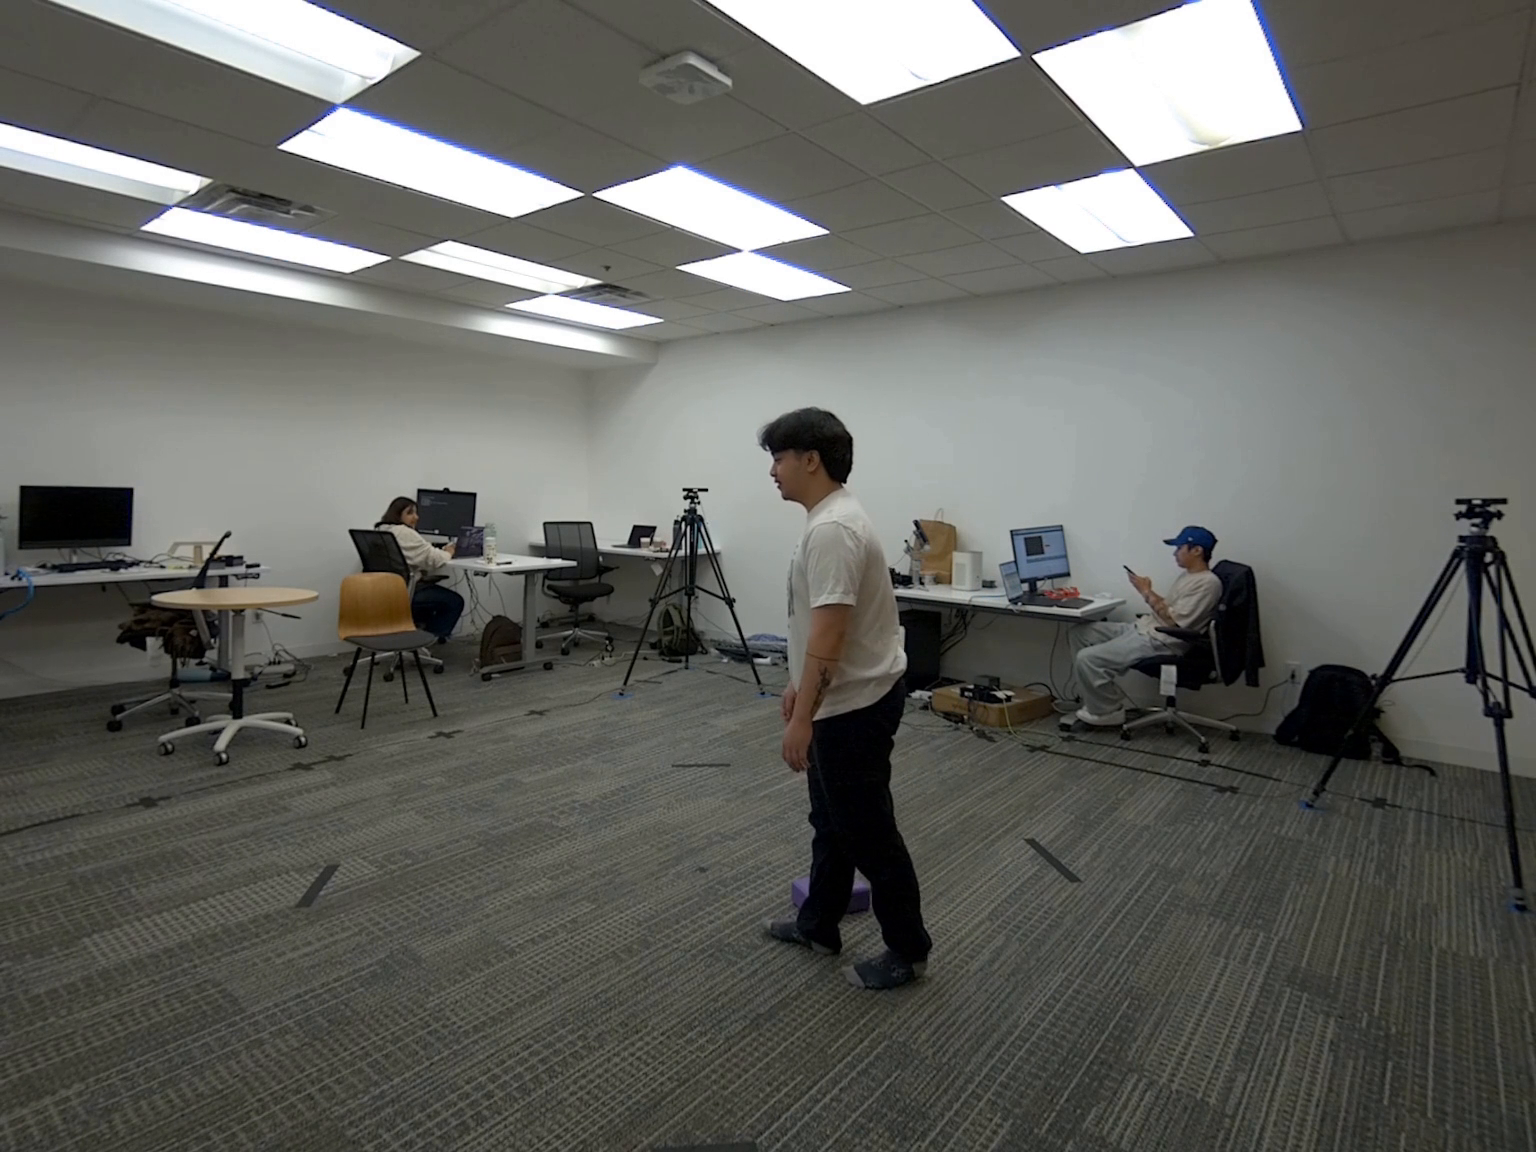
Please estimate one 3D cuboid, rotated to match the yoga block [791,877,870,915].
[{"bbox_3d":[0.204,1.062,2.852,0.224,0.076,0.153,-1,5,-24],"label":"yoga block"}]
